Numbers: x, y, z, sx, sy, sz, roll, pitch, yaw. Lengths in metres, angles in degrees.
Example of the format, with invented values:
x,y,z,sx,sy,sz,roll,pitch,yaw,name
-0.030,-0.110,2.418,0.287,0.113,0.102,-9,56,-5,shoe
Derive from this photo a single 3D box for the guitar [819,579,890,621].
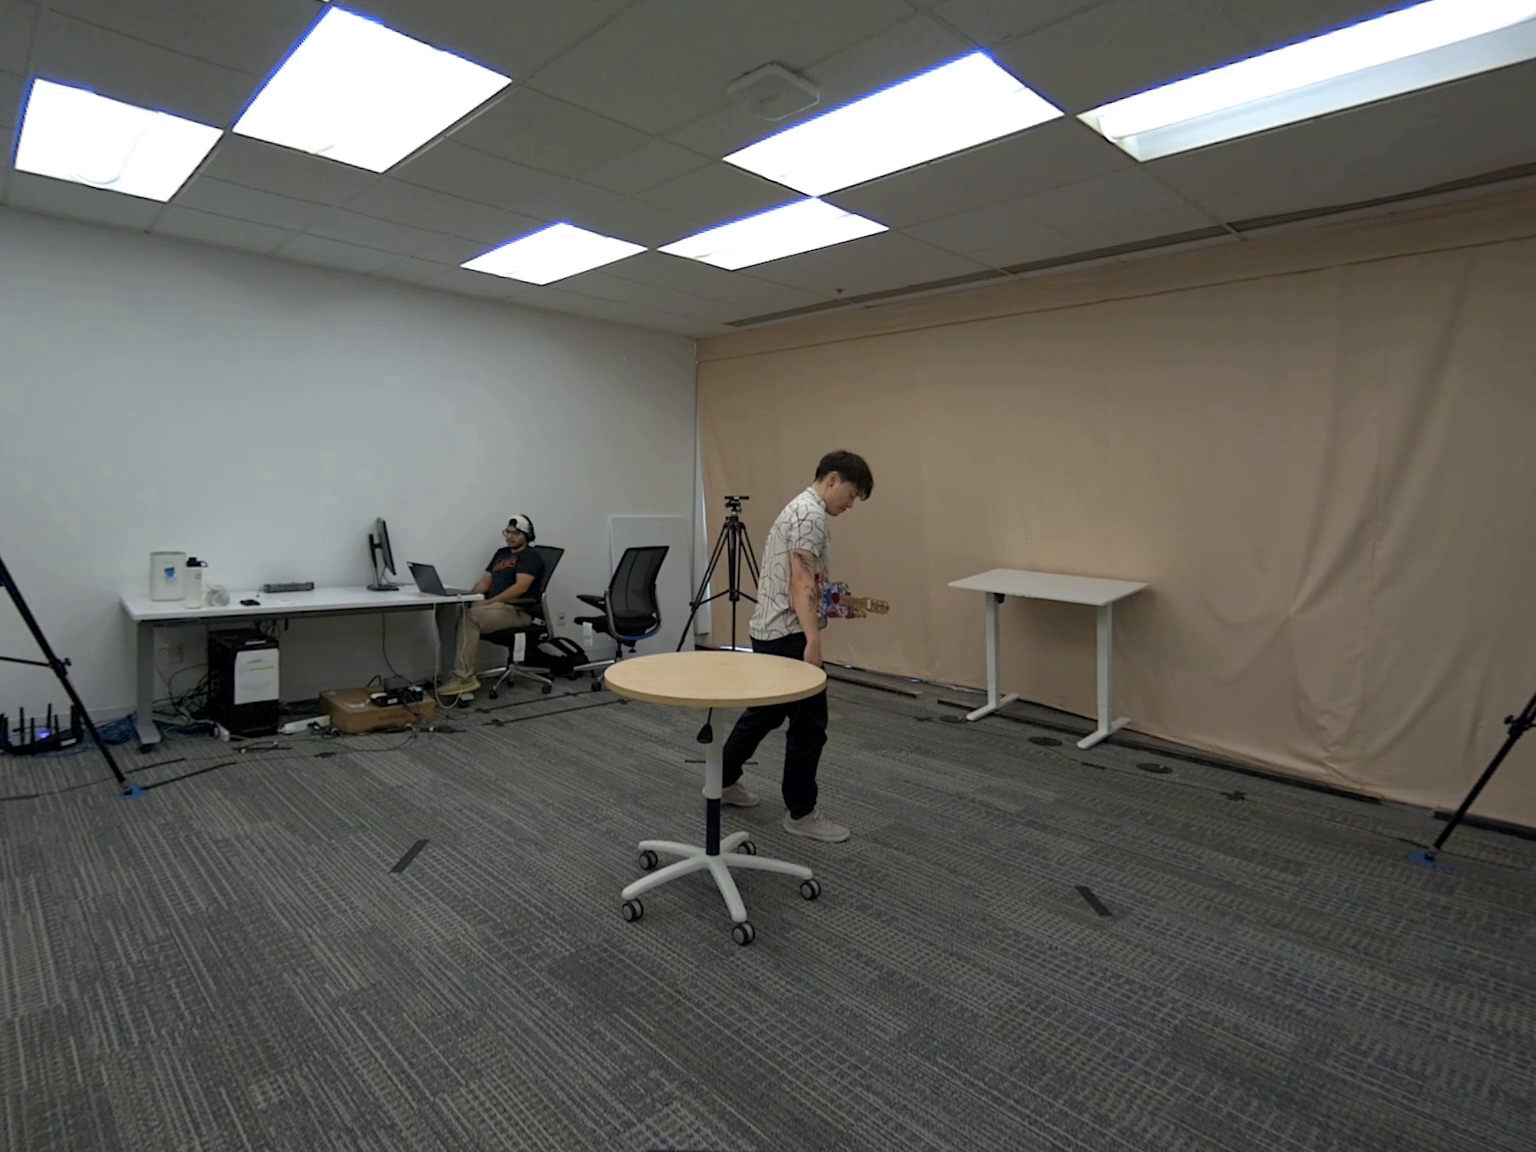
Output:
x,y,z,sx,sy,sz,roll,pitch,yaw,name
0.299,0.126,3.482,0.484,0.195,0.072,22,-20,-36,guitar
